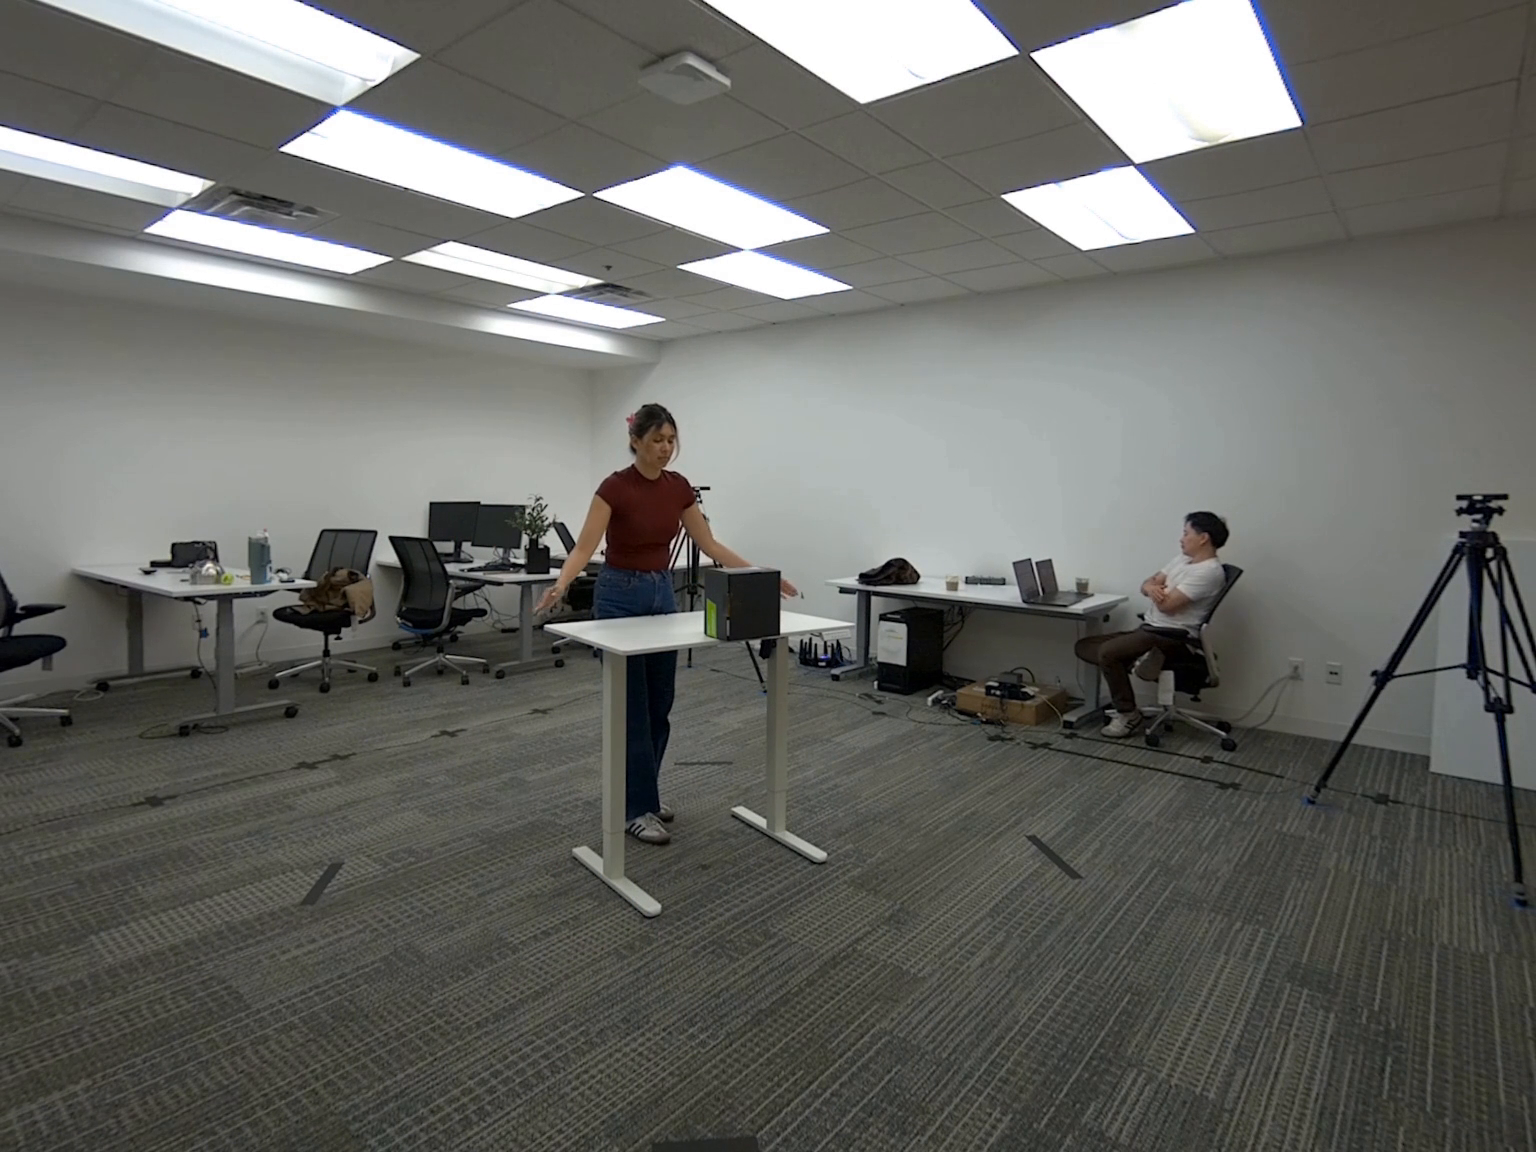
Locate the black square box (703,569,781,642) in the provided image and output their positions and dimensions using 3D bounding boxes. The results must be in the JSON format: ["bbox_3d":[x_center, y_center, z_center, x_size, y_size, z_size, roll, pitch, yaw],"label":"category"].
[{"bbox_3d":[-0.100,0.091,2.891,0.211,0.227,0.161,-2,5,-32],"label":"black square box"}]
